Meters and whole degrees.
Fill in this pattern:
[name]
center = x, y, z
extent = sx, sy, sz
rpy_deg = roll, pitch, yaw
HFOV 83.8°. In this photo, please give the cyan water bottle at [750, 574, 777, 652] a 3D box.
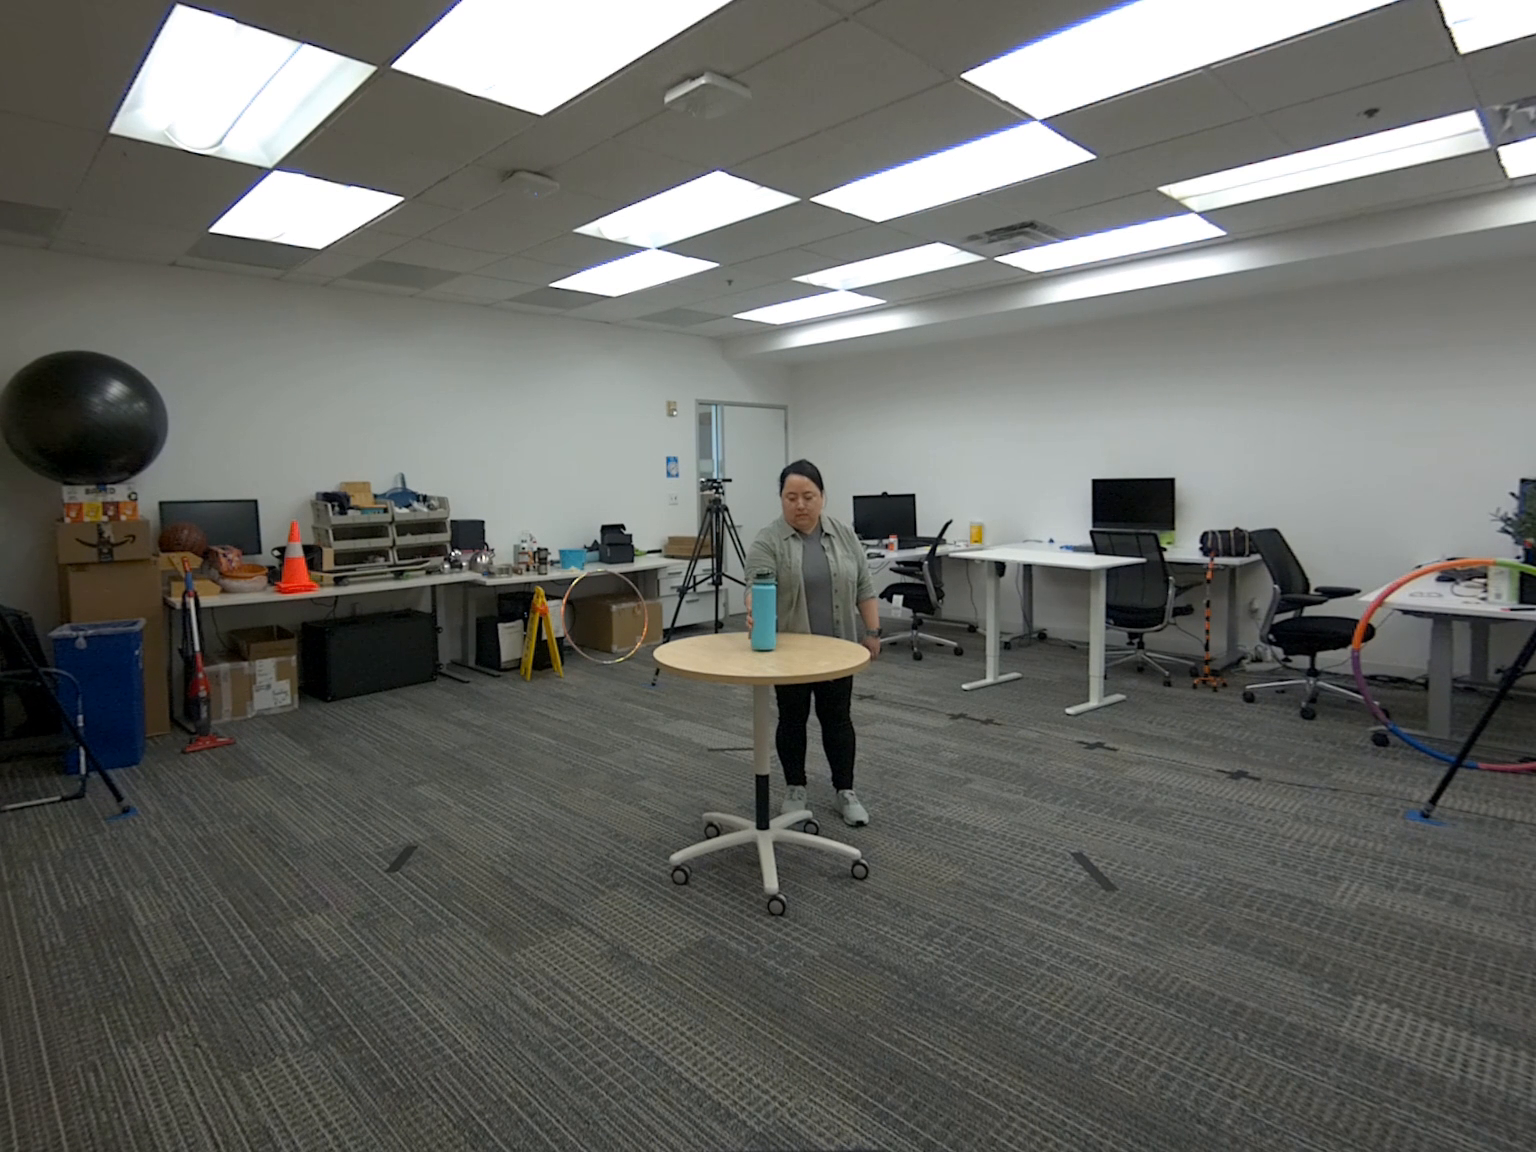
[cyan water bottle]
center = -0.012, 0.118, 3.064
extent = 0.092, 0.284, 0.092
rpy_deg = 0, -1, -2
